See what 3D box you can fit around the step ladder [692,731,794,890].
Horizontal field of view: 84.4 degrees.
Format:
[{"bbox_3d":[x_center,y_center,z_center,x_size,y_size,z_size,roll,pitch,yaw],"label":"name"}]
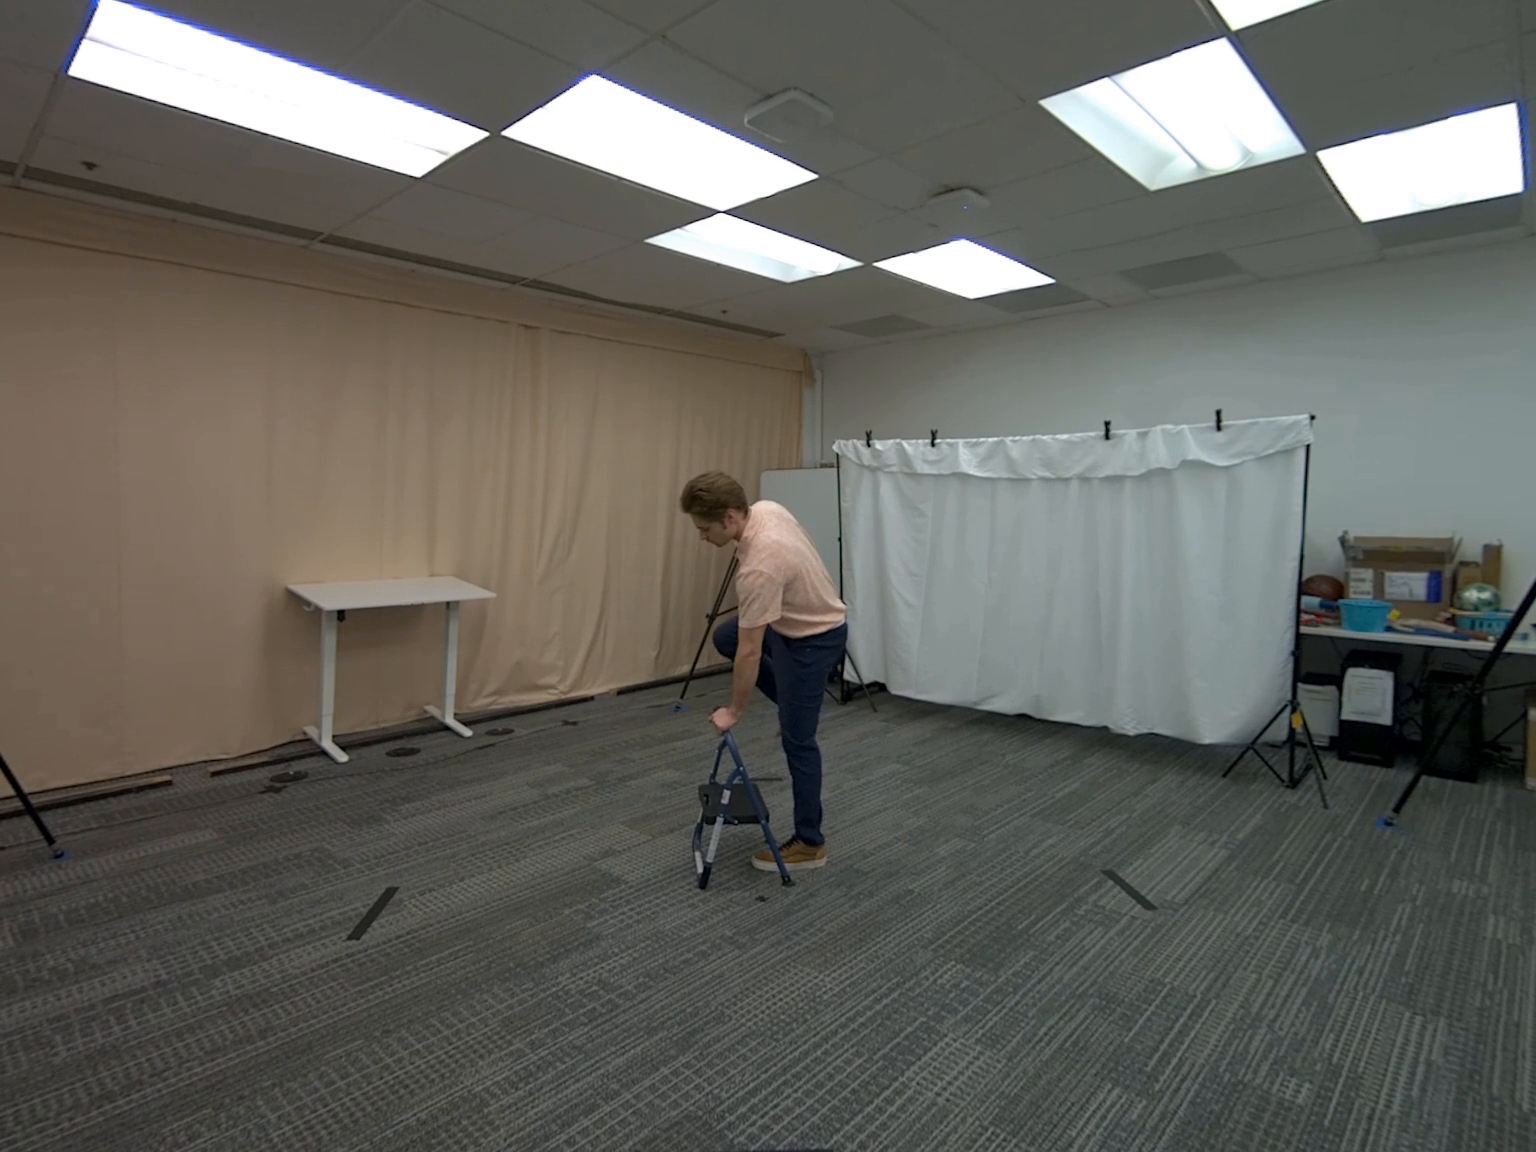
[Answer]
[{"bbox_3d":[-0.115,0.818,3.261,0.346,0.605,0.435,-1,3,-9],"label":"step ladder"}]
